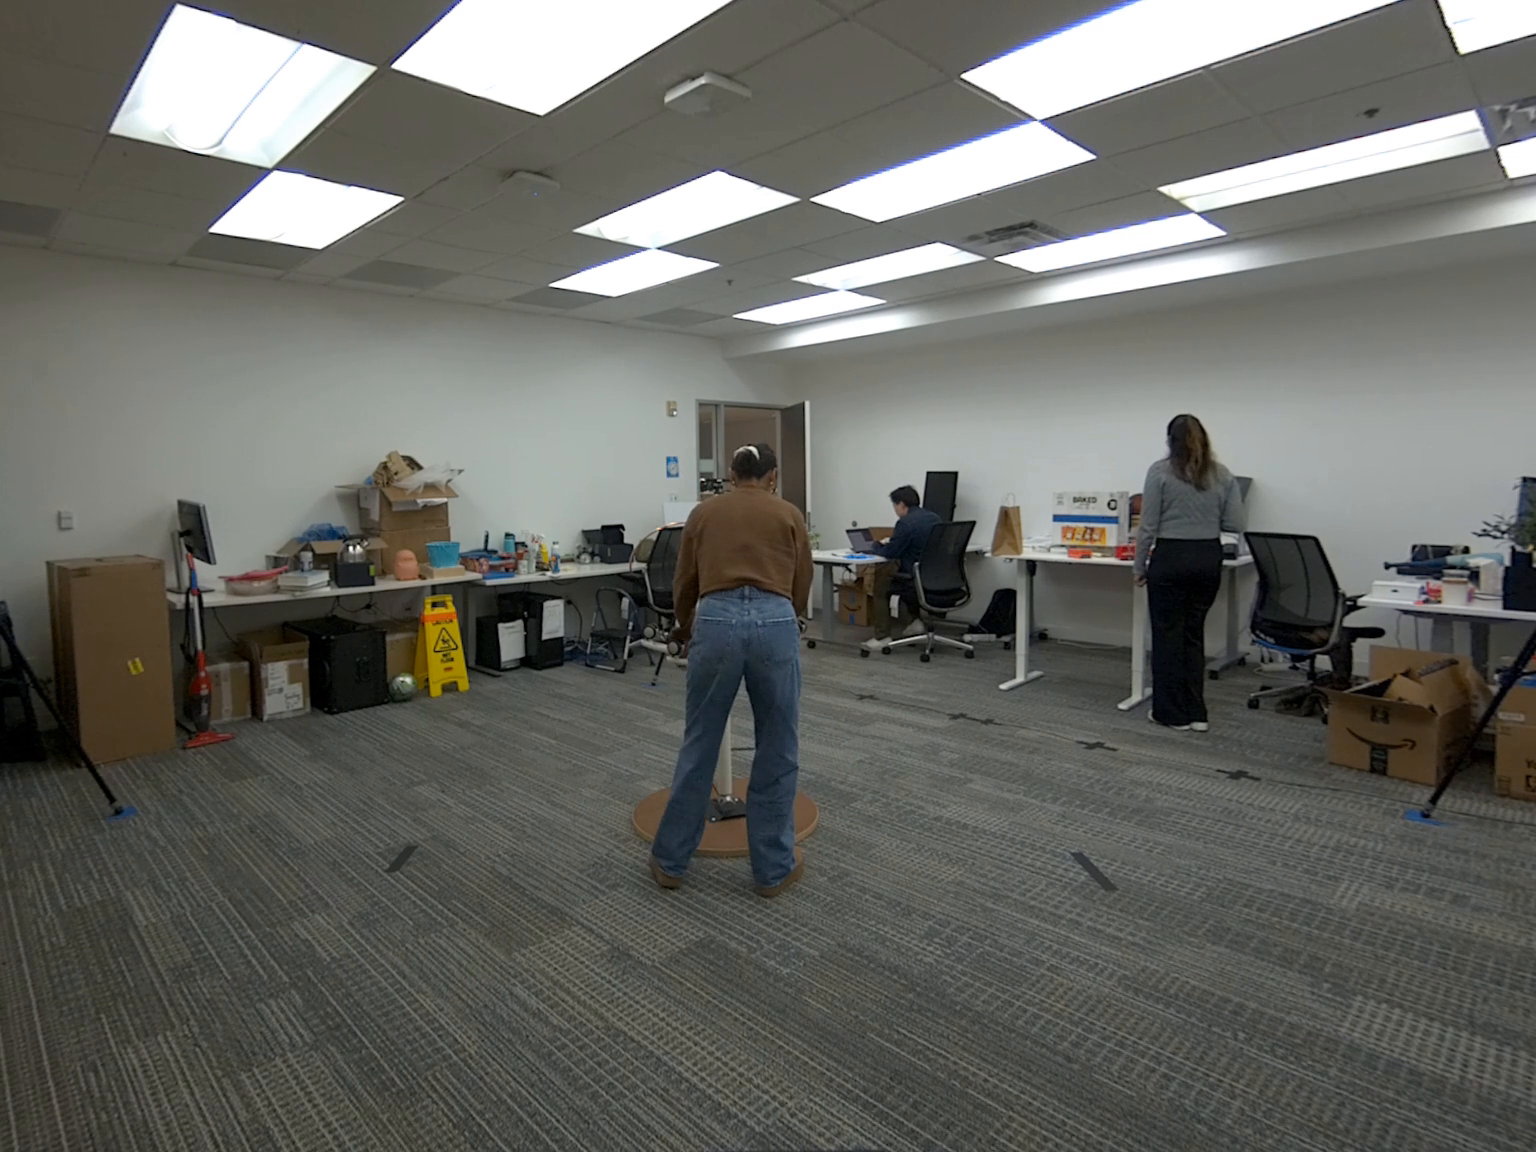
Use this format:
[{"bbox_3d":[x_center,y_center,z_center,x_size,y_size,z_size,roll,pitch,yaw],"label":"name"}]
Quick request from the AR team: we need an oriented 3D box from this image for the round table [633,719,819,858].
[{"bbox_3d":[-0.179,0.605,3.529,0.763,0.792,0.767,0,4,-2],"label":"round table"}]
